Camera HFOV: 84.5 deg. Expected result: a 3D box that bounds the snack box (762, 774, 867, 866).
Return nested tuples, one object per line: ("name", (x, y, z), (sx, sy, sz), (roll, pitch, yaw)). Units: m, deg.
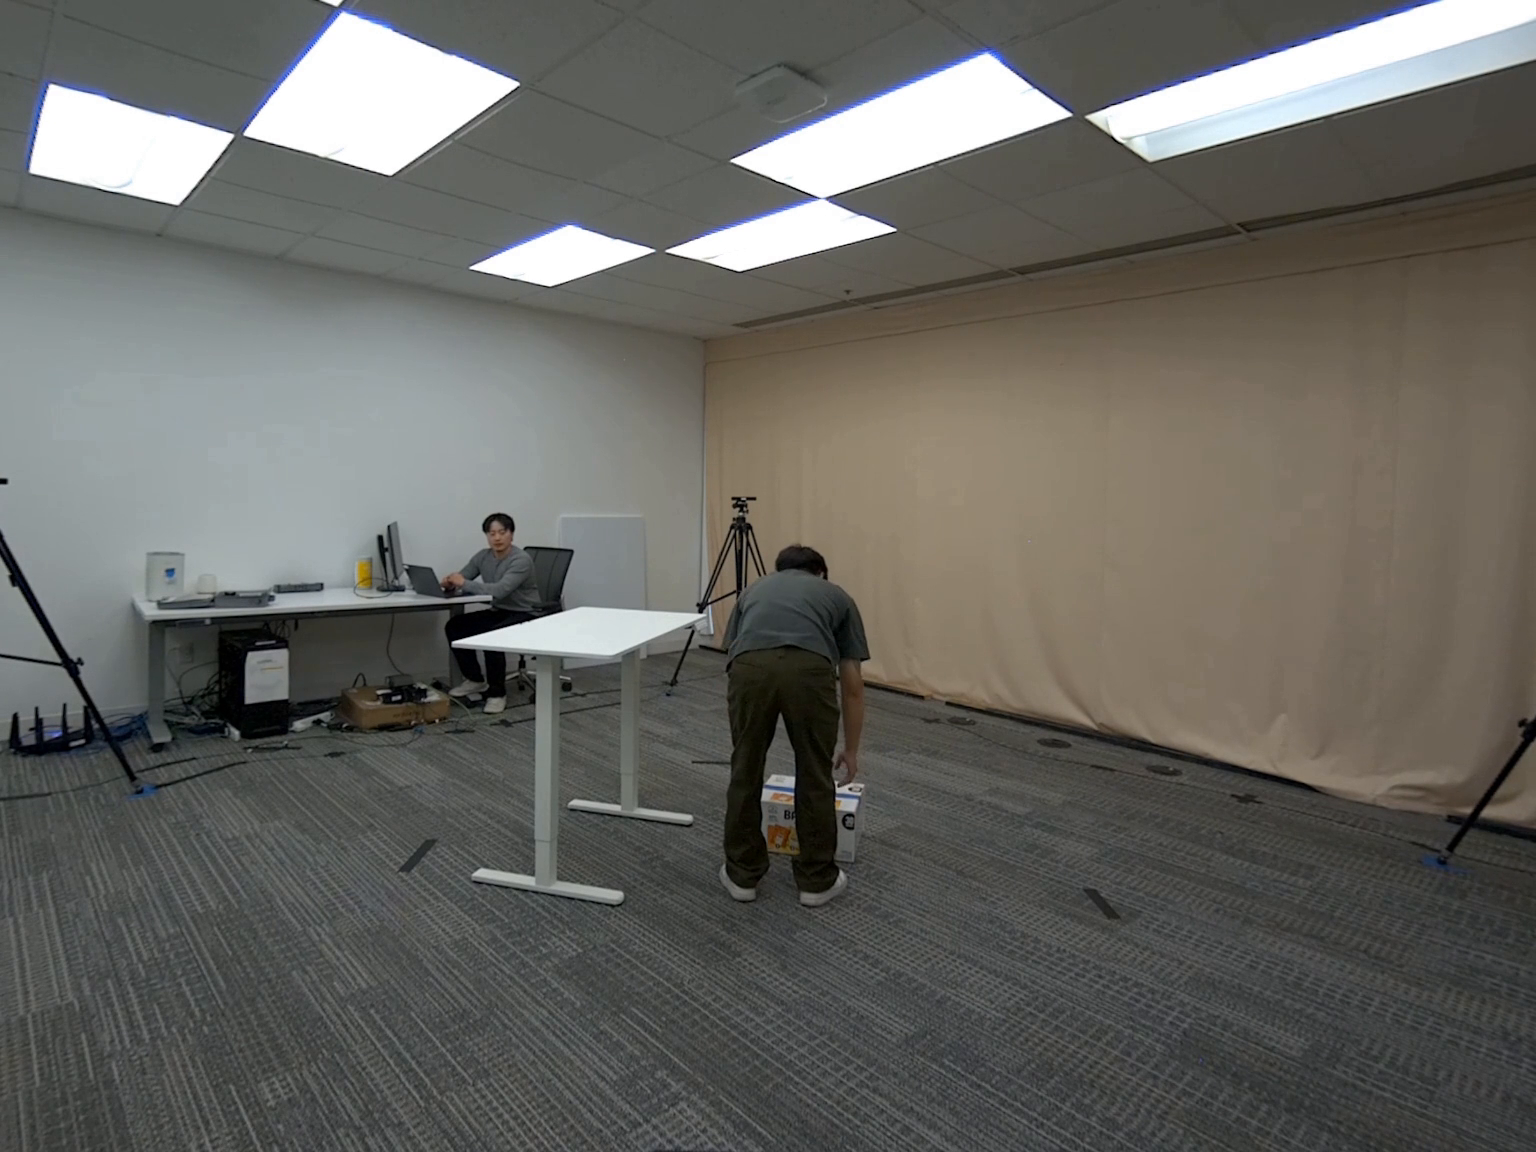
("snack box", (0.175, 0.979, 3.441), (0.410, 0.205, 0.337), (2, 4, 13))
